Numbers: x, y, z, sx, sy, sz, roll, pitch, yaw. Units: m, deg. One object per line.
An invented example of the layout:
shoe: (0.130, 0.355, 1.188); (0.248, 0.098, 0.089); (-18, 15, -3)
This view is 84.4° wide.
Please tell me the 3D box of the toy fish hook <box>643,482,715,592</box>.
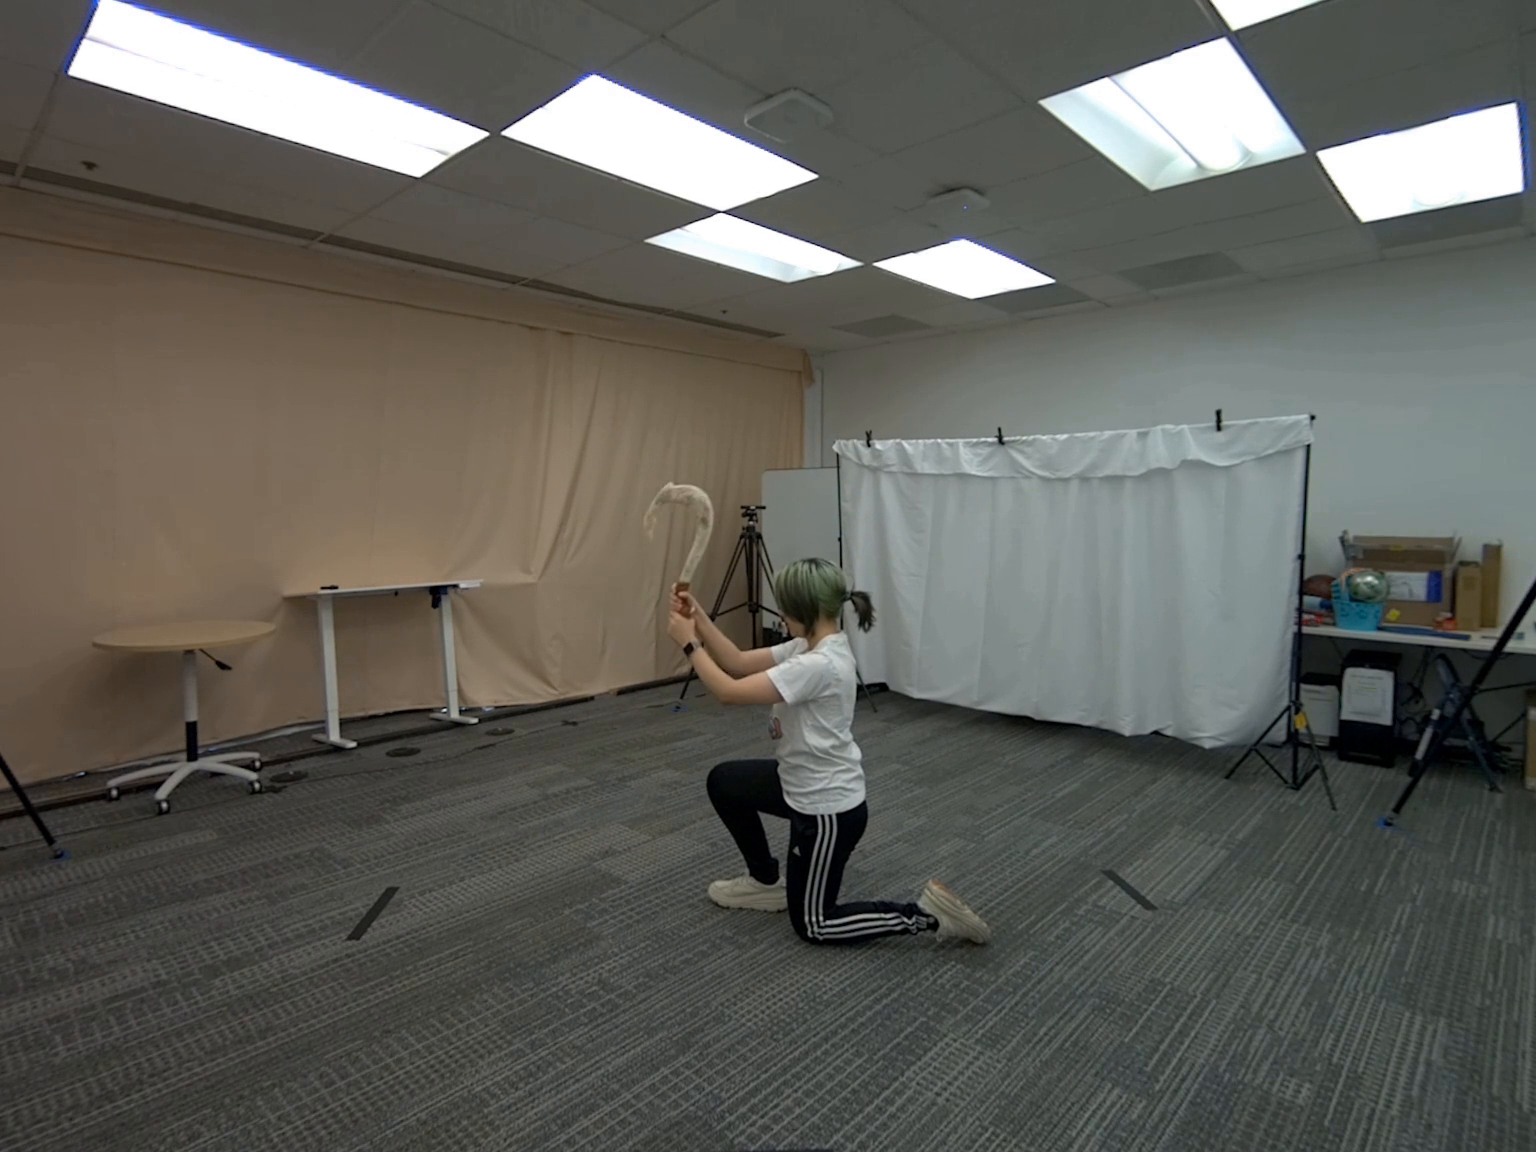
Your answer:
toy fish hook: (-0.299, -0.031, 2.713); (0.228, 0.505, 0.047); (8, 5, 15)
